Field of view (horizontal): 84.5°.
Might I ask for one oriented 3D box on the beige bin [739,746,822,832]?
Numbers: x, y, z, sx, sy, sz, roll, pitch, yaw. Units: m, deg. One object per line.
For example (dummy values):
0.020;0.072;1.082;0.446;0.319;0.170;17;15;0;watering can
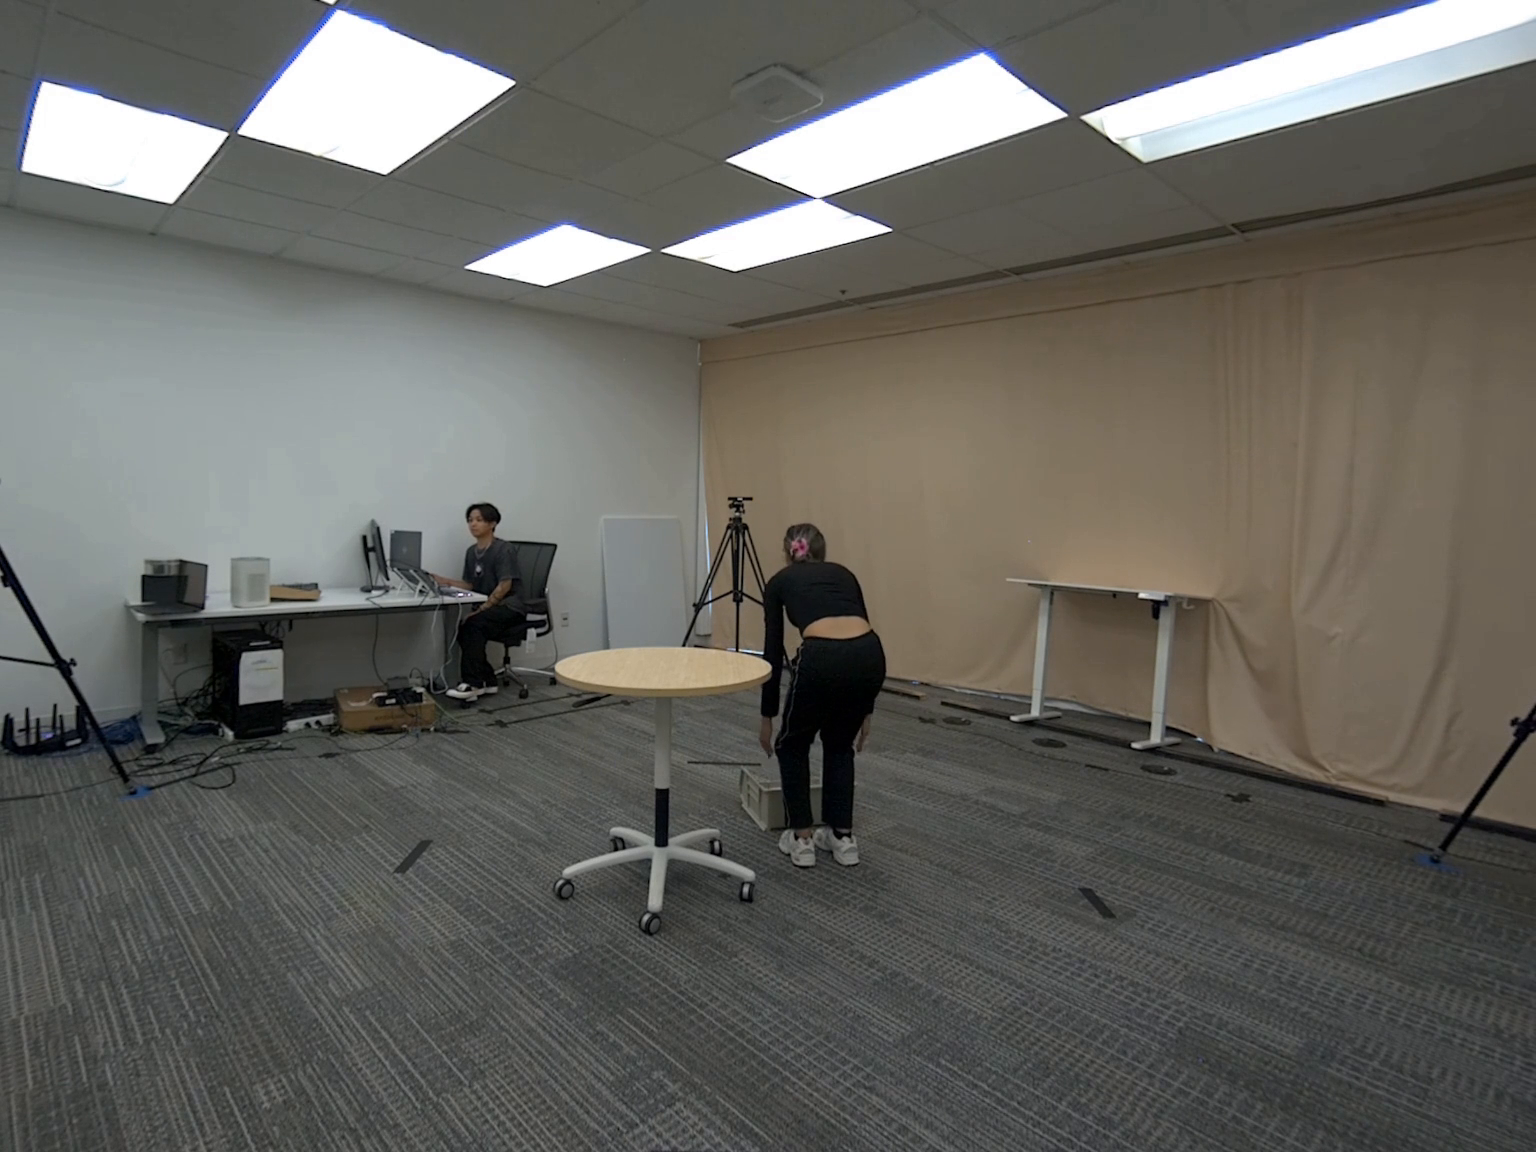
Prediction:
0.117;0.960;3.759;0.417;0.188;0.384;0;6;-17;beige bin
